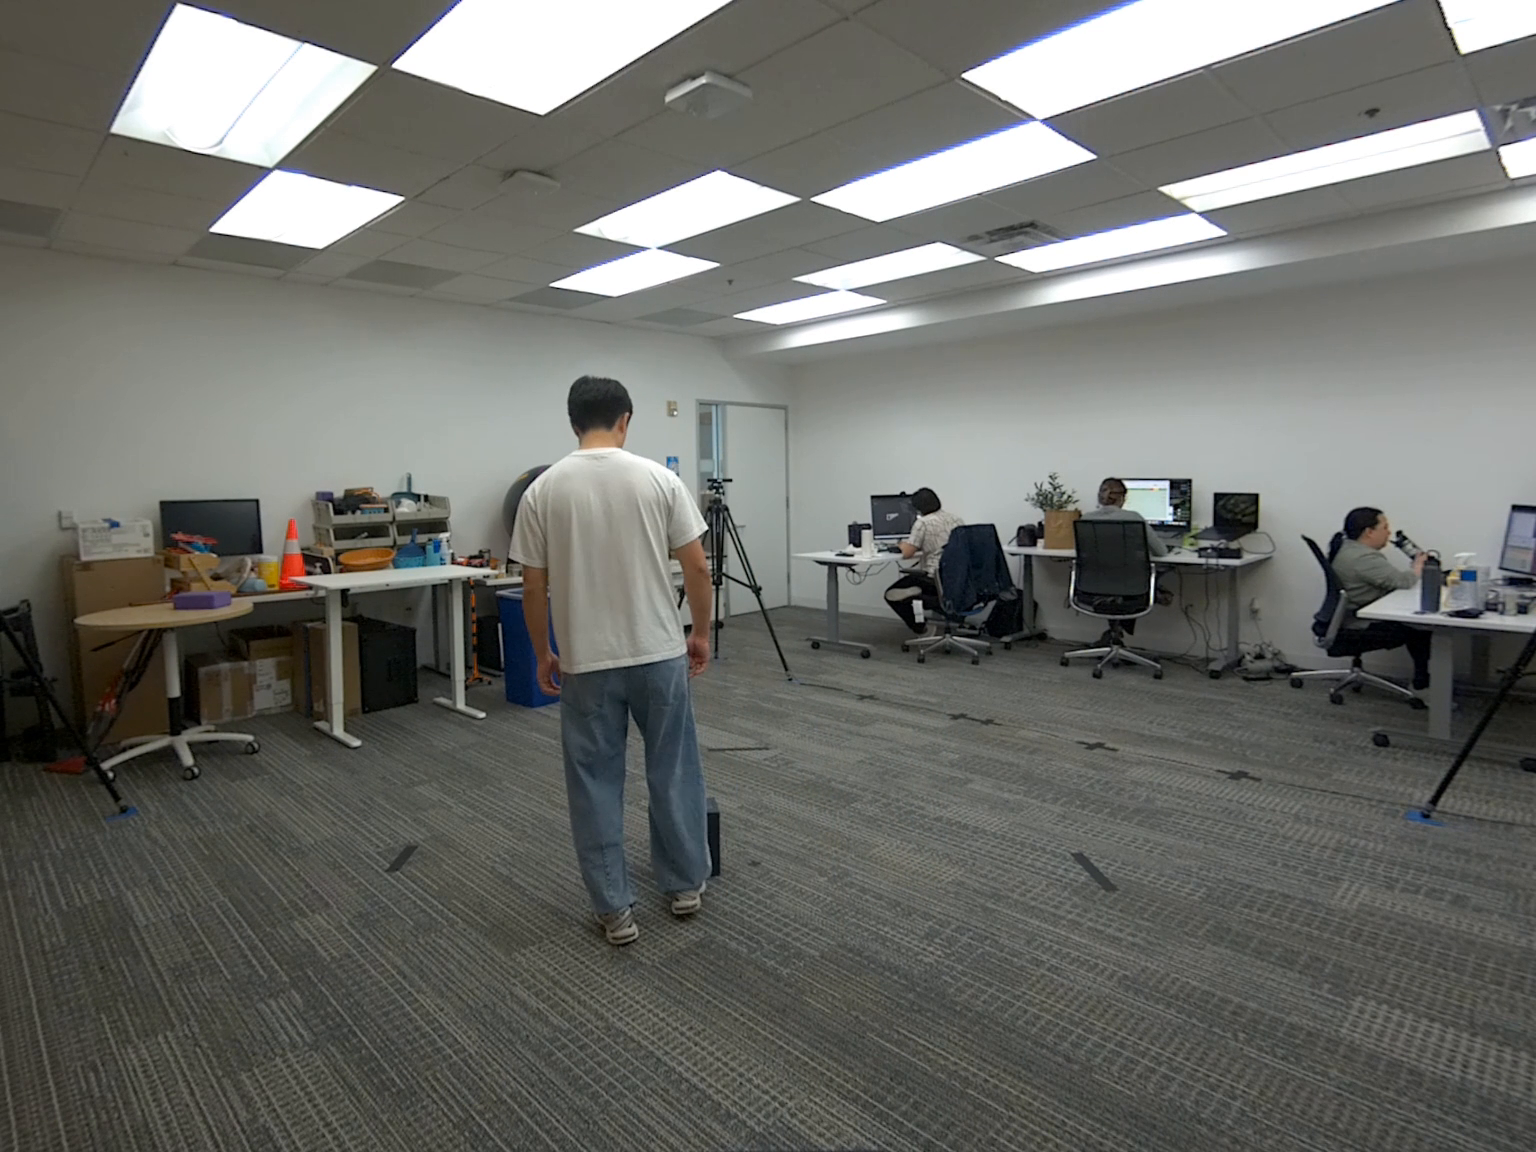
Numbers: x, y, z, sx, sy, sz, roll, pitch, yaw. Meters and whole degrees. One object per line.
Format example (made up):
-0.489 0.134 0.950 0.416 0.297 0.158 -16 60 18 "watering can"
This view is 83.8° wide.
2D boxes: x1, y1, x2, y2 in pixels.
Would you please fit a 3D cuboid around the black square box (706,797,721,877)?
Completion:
-0.280 0.932 3.073 0.215 0.227 0.157 -2 3 -8 "black square box"
